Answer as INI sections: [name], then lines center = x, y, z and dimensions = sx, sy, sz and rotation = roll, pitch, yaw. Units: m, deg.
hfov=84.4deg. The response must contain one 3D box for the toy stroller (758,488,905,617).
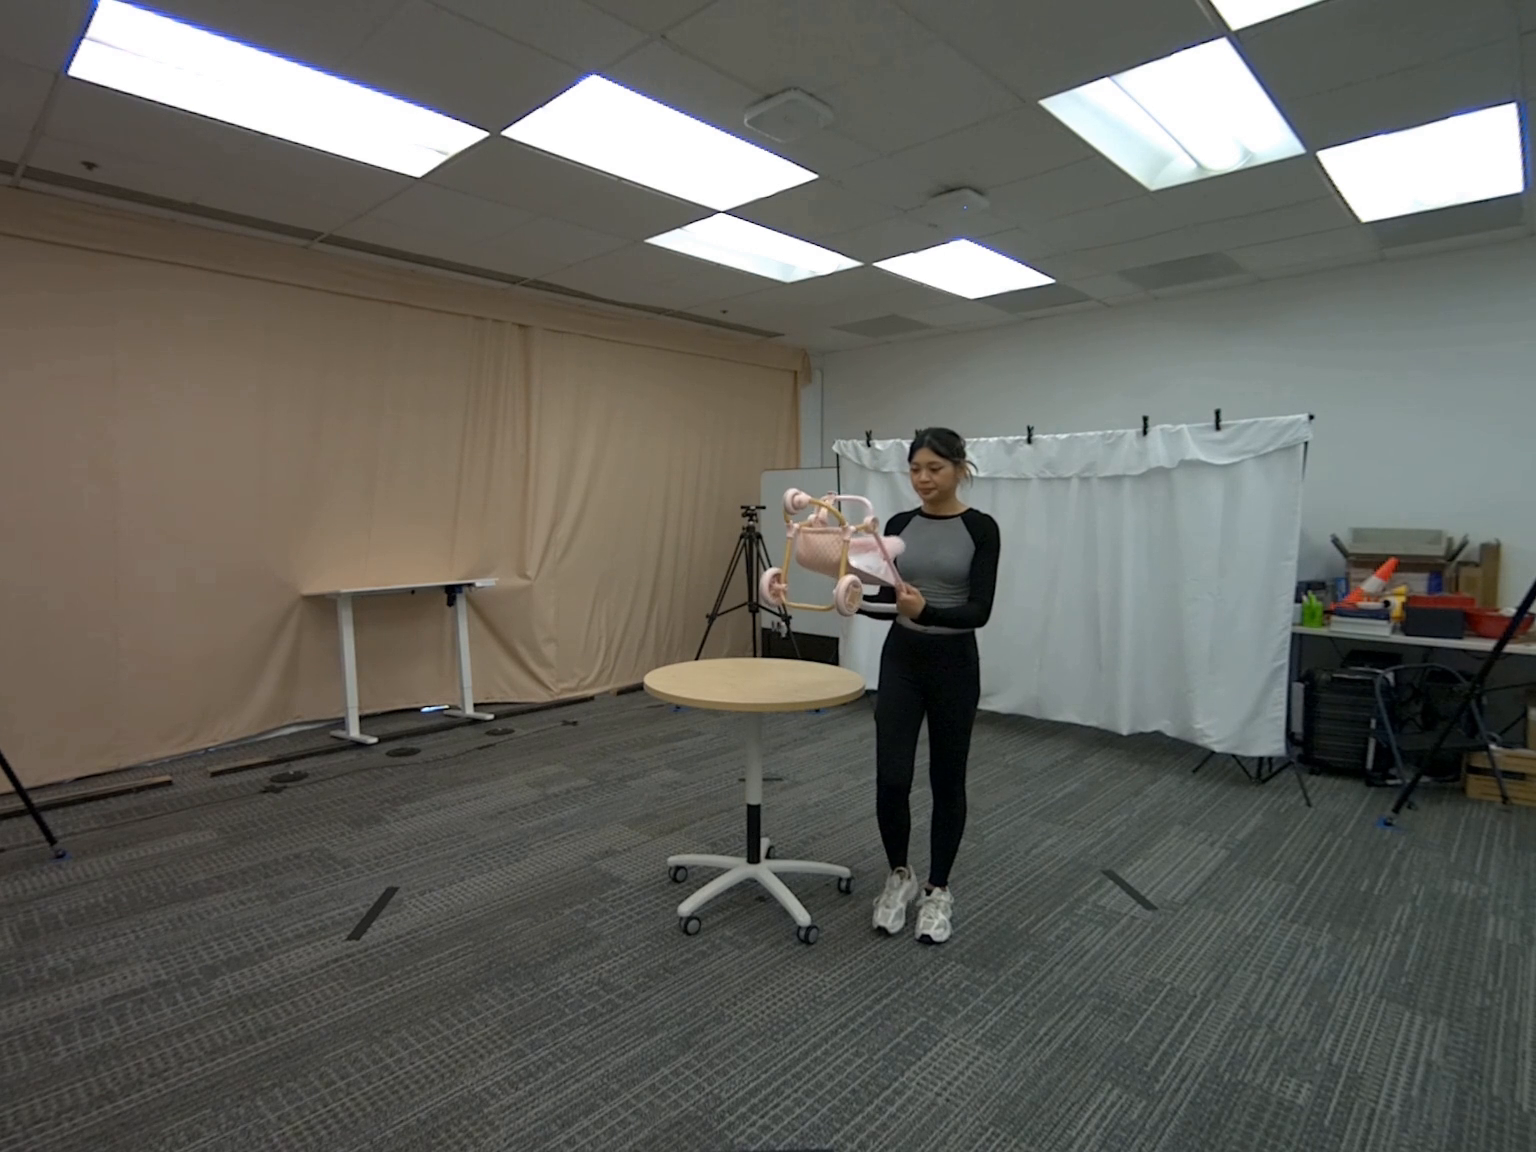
[toy stroller]
center = 0.209, -0.058, 2.366
dimensions = 0.290, 0.342, 0.518
rotation = -3, -3, 42
